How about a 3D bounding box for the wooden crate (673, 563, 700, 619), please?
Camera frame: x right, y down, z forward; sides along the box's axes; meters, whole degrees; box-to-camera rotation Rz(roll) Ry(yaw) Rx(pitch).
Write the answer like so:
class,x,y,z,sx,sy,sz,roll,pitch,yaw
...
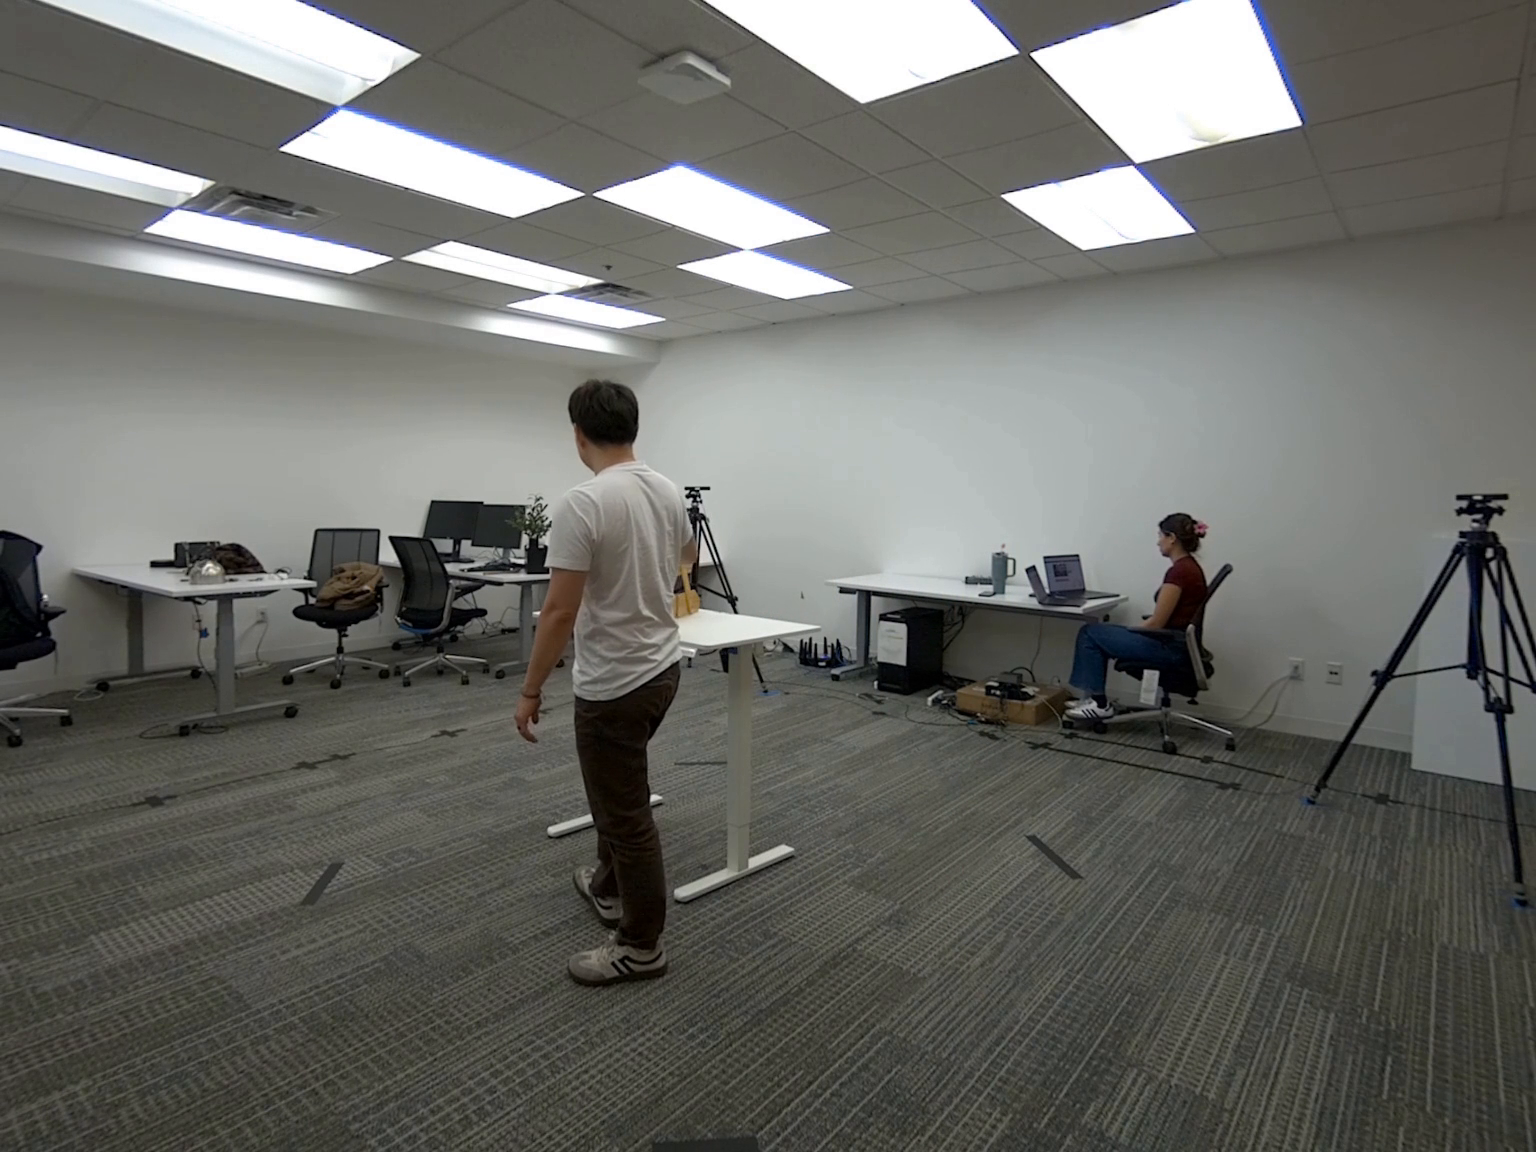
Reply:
class,x,y,z,sx,sy,sz,roll,pitch,yaw
wooden crate,-0.474,0.015,3.434,0.331,0.272,0.297,2,5,17
